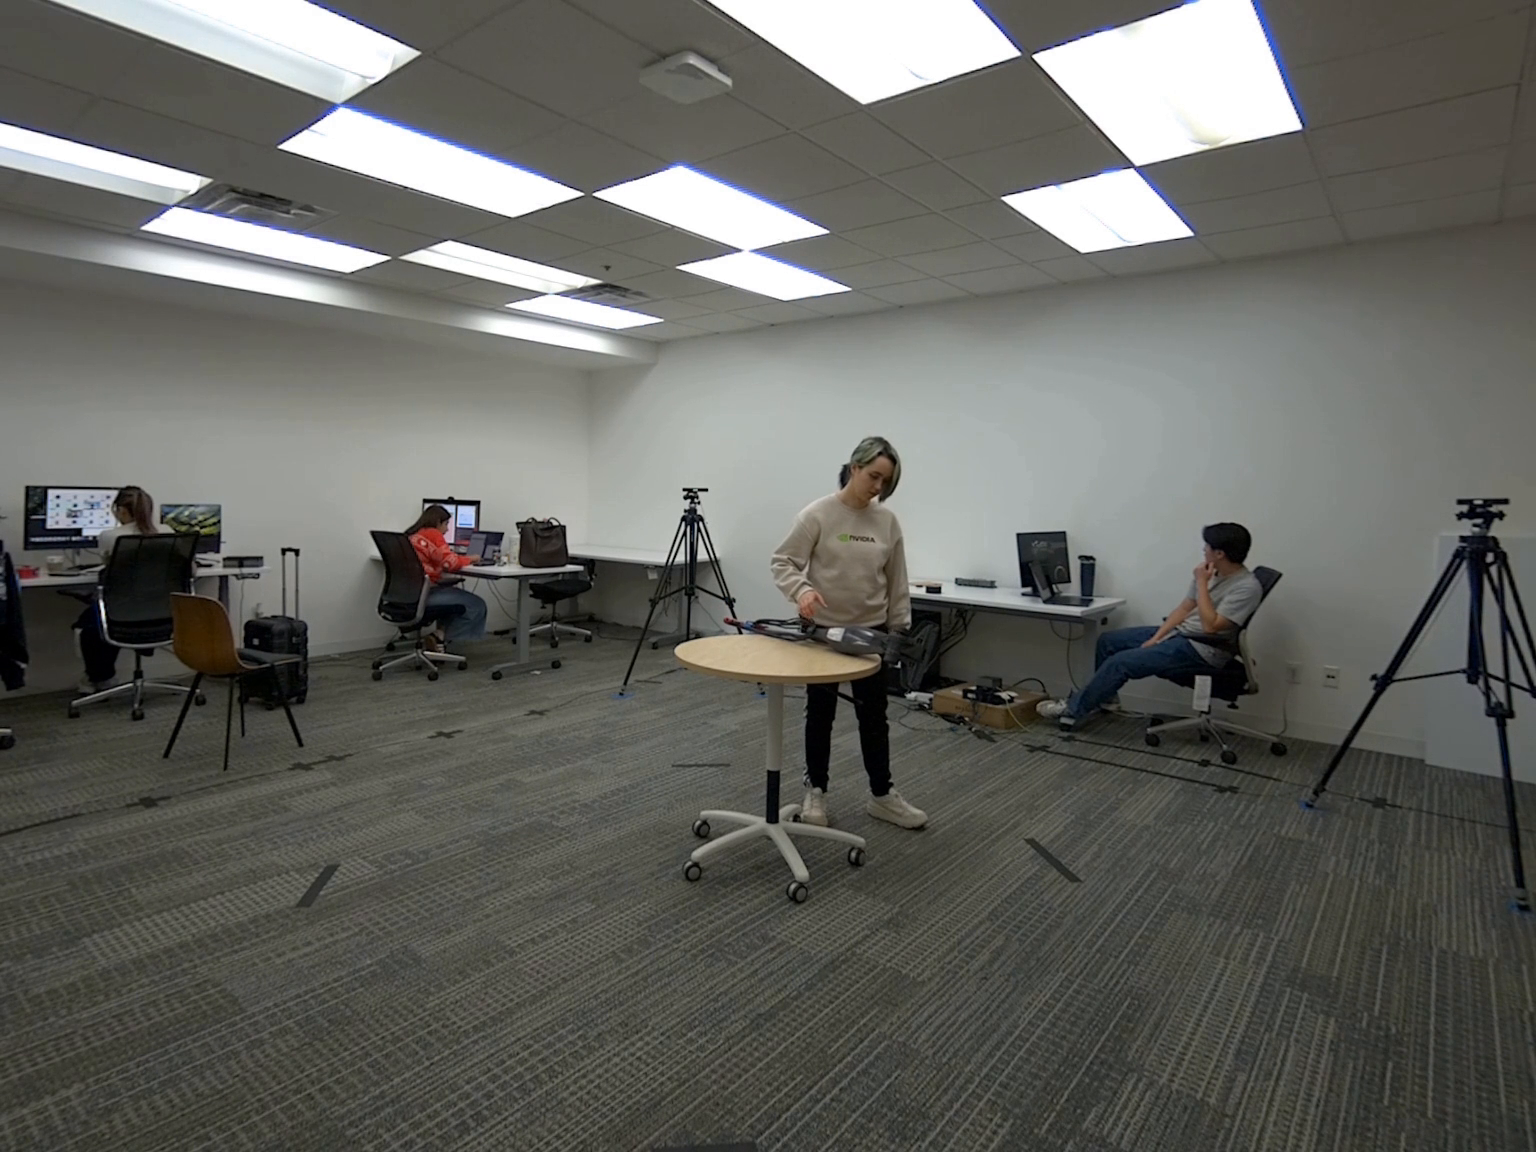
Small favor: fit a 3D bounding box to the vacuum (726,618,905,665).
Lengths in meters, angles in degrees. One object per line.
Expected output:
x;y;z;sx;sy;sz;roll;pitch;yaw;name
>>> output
0.157;0.232;3.392;0.138;0.254;1.084;38;-19;-33;vacuum
